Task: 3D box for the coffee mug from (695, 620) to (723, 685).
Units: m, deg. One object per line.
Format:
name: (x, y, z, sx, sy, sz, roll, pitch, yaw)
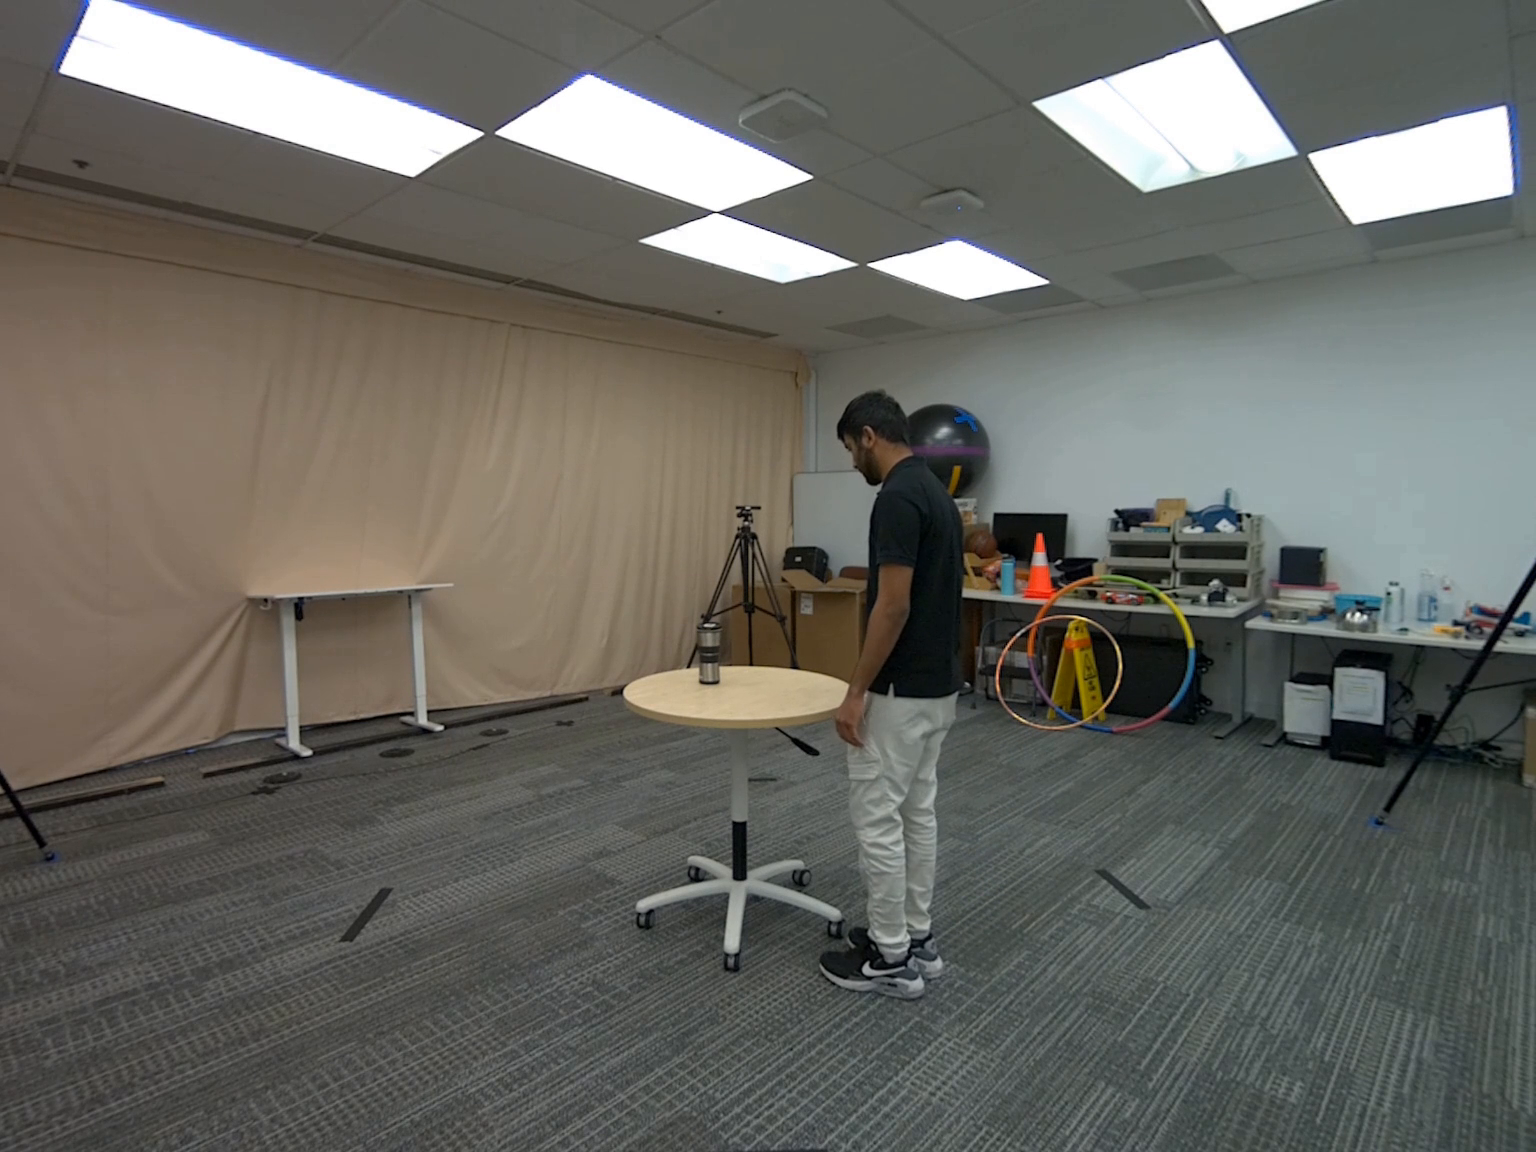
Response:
coffee mug: (-0.194, 0.275, 2.884, 0.085, 0.203, 0.125, -2, 0, -34)
